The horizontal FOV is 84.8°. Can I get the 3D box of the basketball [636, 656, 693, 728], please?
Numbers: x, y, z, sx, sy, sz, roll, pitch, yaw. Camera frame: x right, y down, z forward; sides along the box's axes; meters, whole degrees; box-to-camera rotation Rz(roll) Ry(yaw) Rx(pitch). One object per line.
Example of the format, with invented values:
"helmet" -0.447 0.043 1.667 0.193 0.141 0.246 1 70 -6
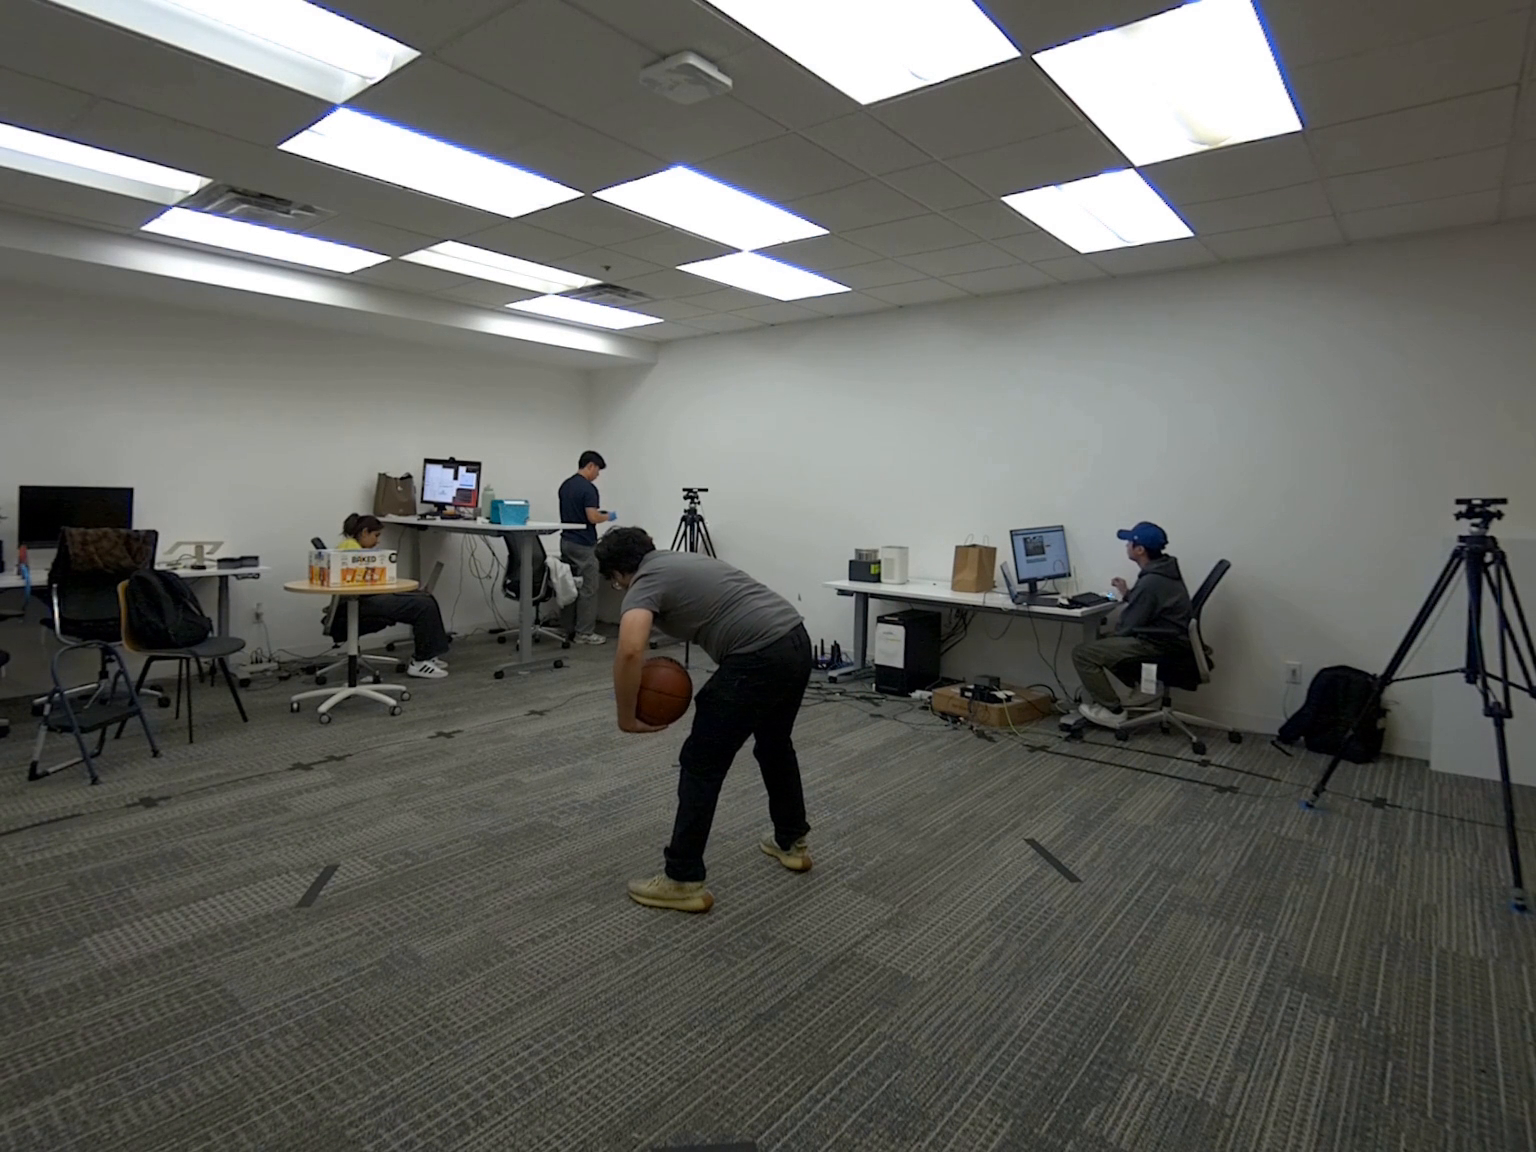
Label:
"basketball" -0.376 0.388 2.869 0.235 0.235 0.237 1 4 -2
